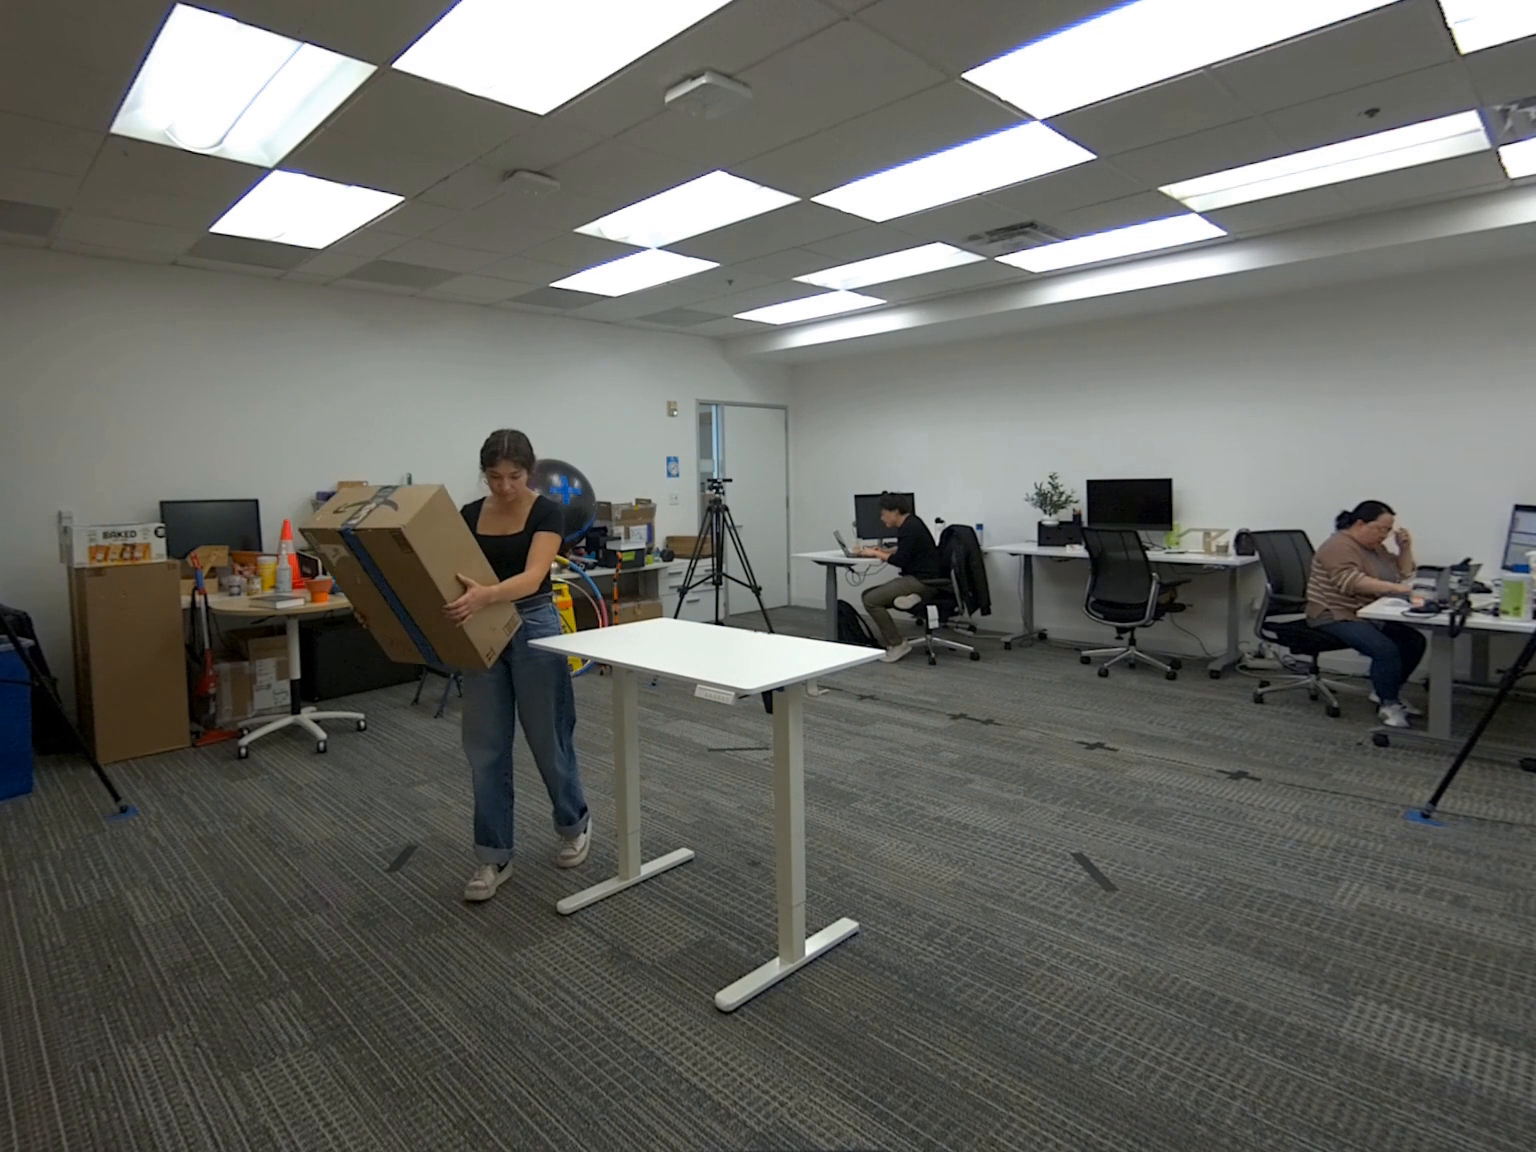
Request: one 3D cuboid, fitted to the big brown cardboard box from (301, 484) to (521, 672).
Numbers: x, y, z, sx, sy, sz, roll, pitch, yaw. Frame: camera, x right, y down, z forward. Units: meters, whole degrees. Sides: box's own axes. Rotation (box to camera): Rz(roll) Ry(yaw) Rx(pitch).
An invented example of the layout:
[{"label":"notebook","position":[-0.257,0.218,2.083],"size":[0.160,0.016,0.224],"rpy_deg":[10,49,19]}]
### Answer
[{"label":"big brown cardboard box","position":[-1.103,0.006,2.665],"size":[0.427,0.569,0.236],"rpy_deg":[0,40,25]}]
